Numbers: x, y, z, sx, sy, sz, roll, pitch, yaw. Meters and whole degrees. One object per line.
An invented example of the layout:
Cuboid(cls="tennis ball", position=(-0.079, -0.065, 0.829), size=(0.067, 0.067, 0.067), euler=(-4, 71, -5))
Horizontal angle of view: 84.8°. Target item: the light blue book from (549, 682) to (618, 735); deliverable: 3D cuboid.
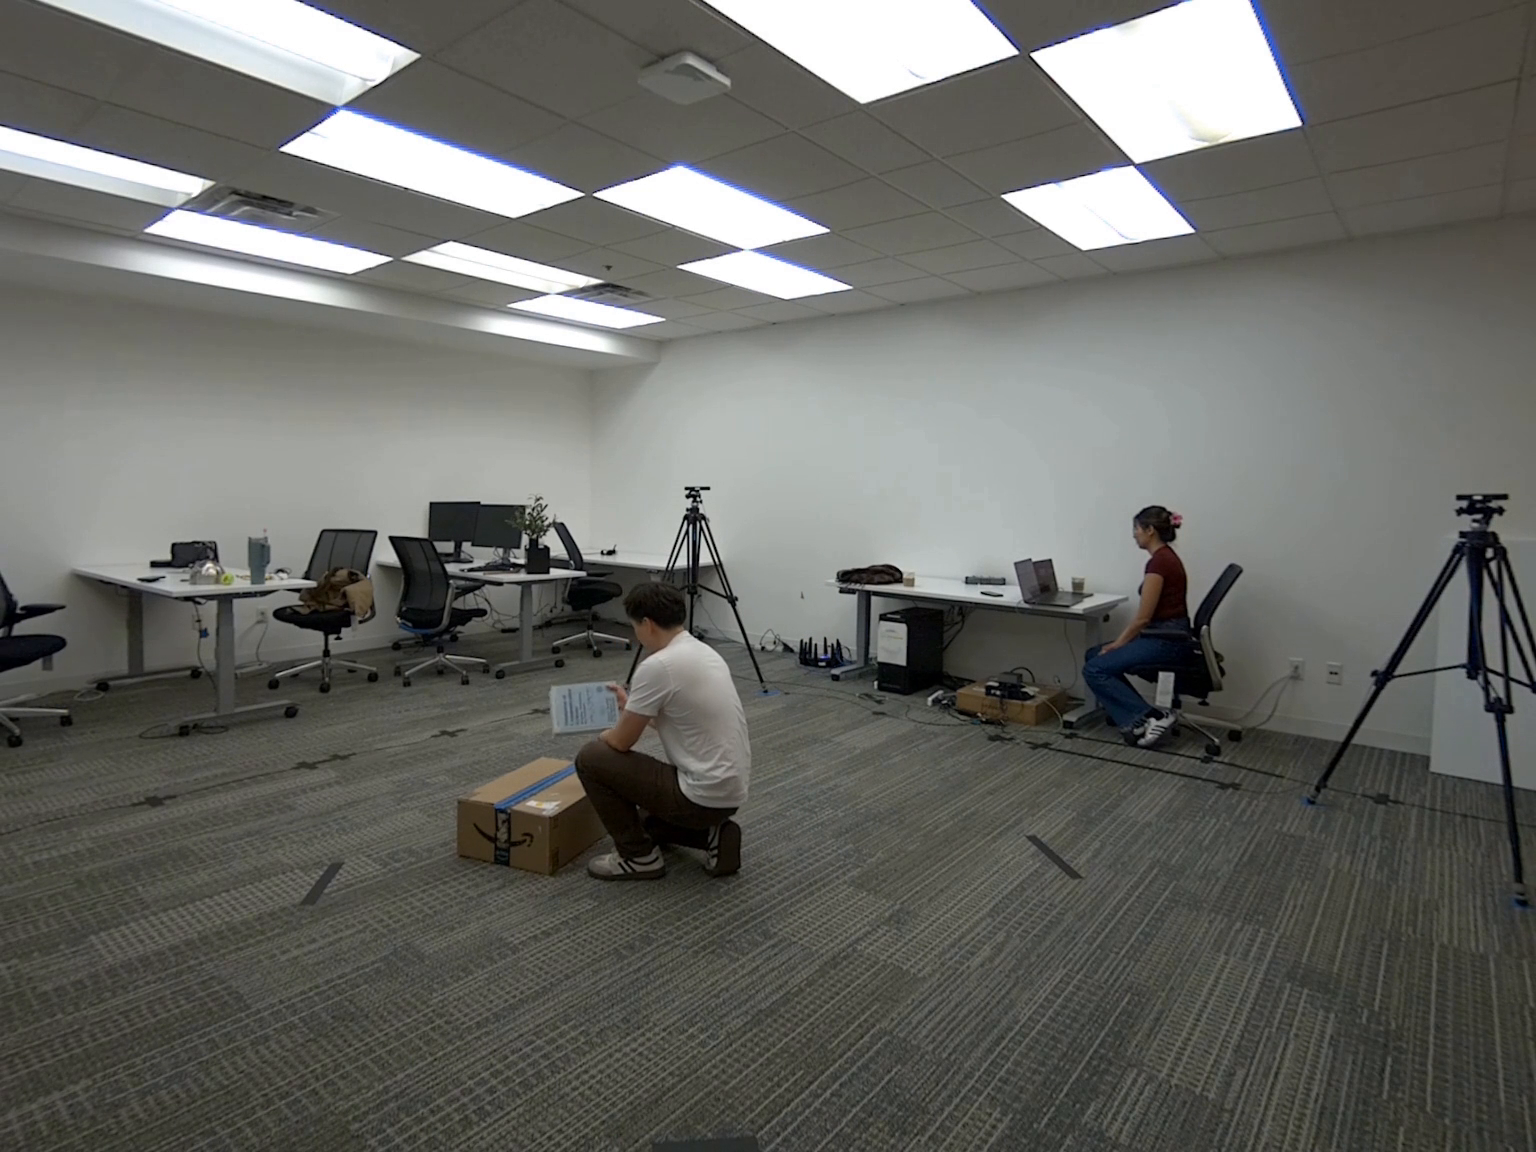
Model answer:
Cuboid(cls="light blue book", position=(-0.748, 0.526, 3.410), size=(0.256, 0.195, 0.059), euler=(-2, -20, -17))
